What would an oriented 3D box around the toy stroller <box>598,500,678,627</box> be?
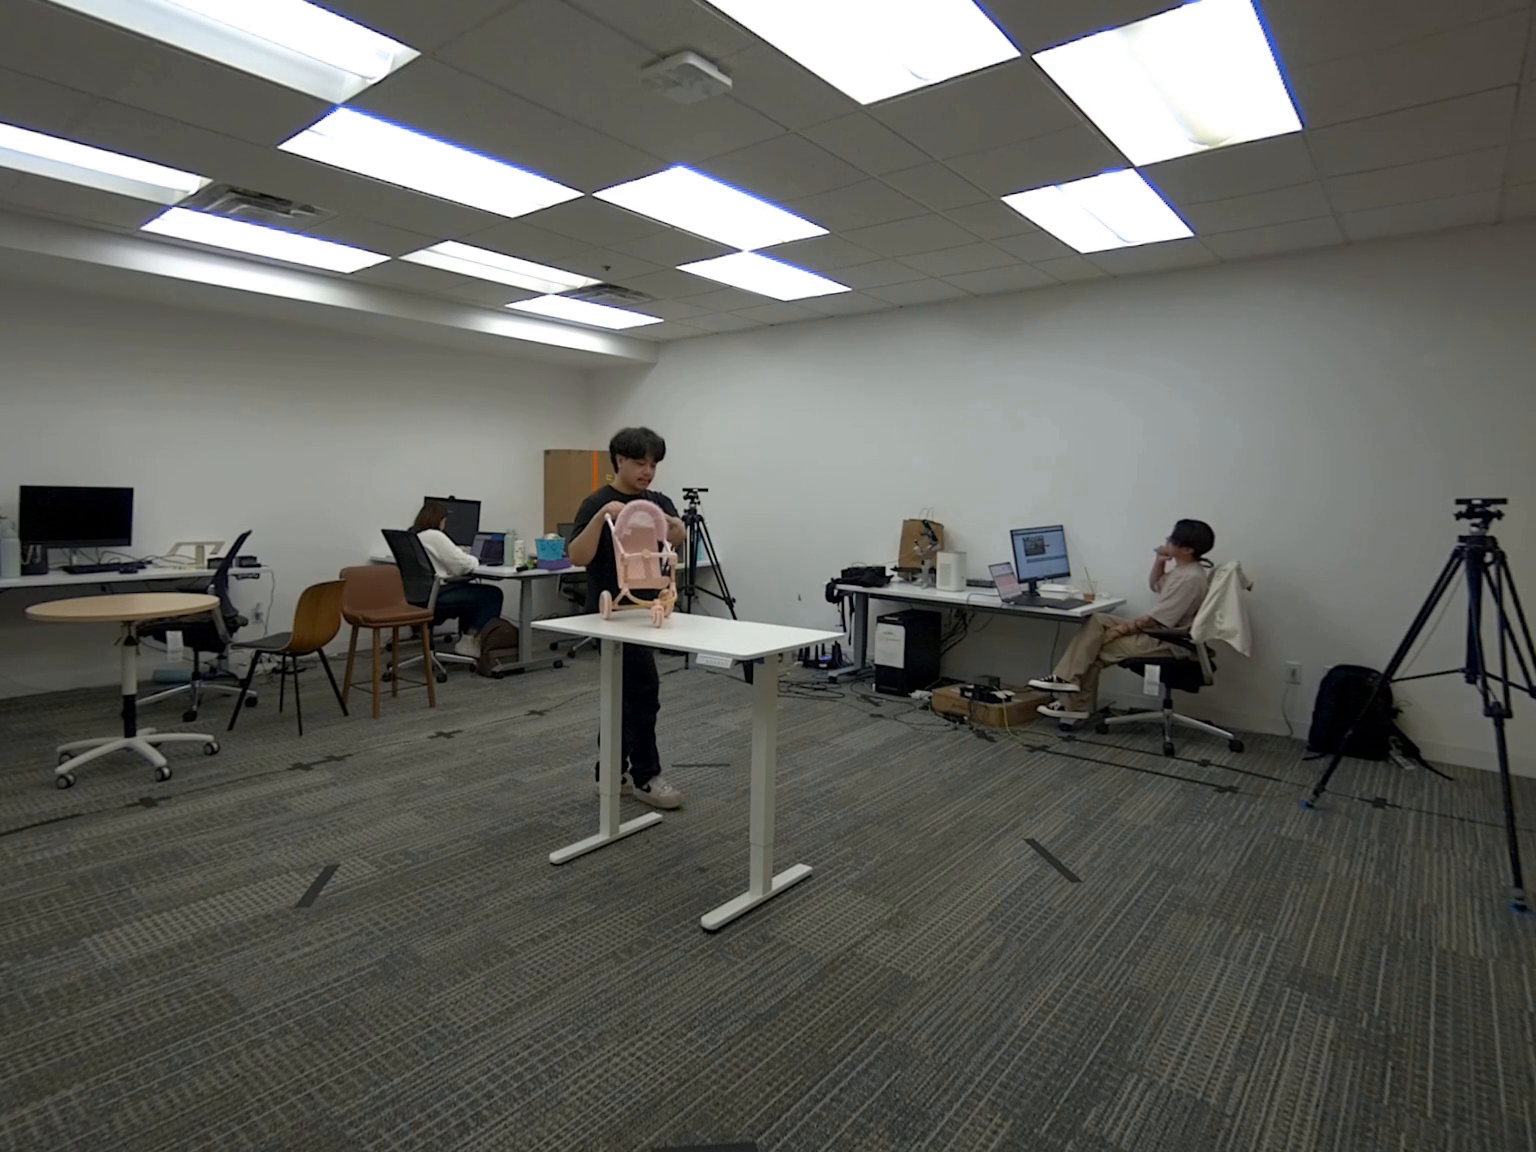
[{"bbox_3d":[-0.496,-0.055,3.267,0.275,0.542,0.344,0,-12,-22],"label":"toy stroller"}]
